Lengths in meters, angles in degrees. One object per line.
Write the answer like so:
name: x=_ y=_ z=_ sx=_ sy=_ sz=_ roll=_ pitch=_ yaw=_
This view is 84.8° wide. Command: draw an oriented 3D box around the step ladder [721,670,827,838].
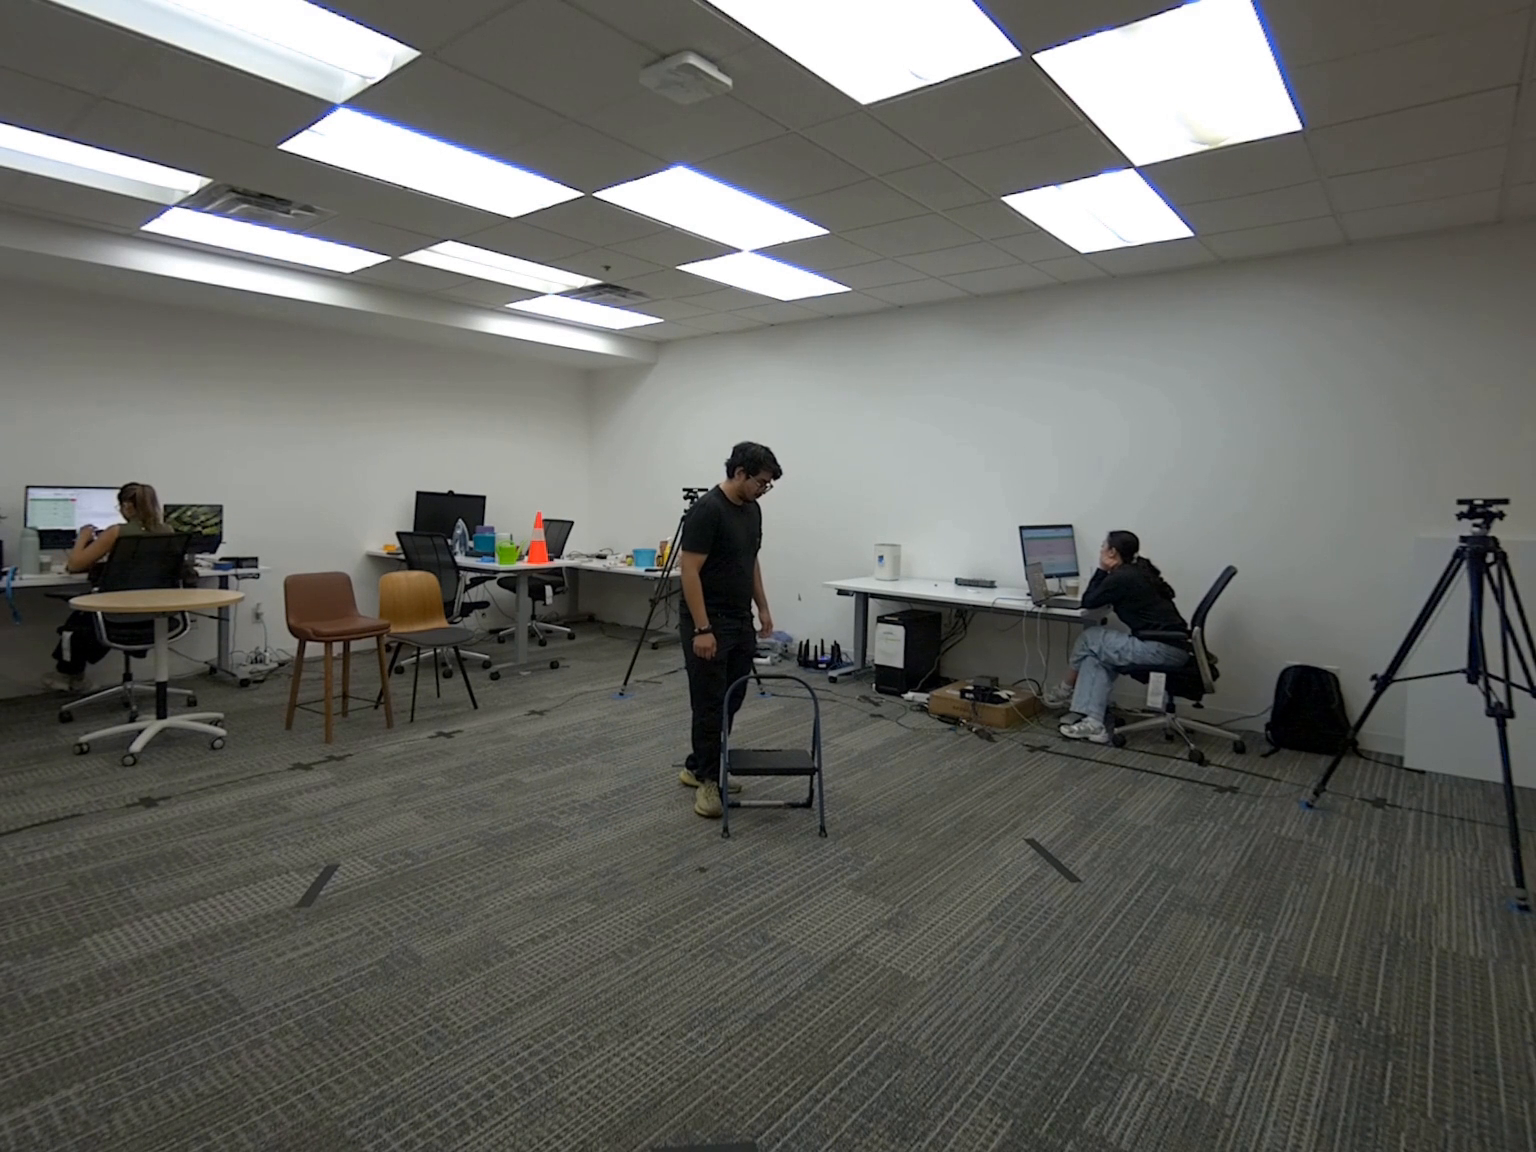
step ladder: x=0.012 y=0.729 z=3.570 sx=0.428 sy=0.604 sz=0.353 roll=1 pitch=4 yaw=-6
